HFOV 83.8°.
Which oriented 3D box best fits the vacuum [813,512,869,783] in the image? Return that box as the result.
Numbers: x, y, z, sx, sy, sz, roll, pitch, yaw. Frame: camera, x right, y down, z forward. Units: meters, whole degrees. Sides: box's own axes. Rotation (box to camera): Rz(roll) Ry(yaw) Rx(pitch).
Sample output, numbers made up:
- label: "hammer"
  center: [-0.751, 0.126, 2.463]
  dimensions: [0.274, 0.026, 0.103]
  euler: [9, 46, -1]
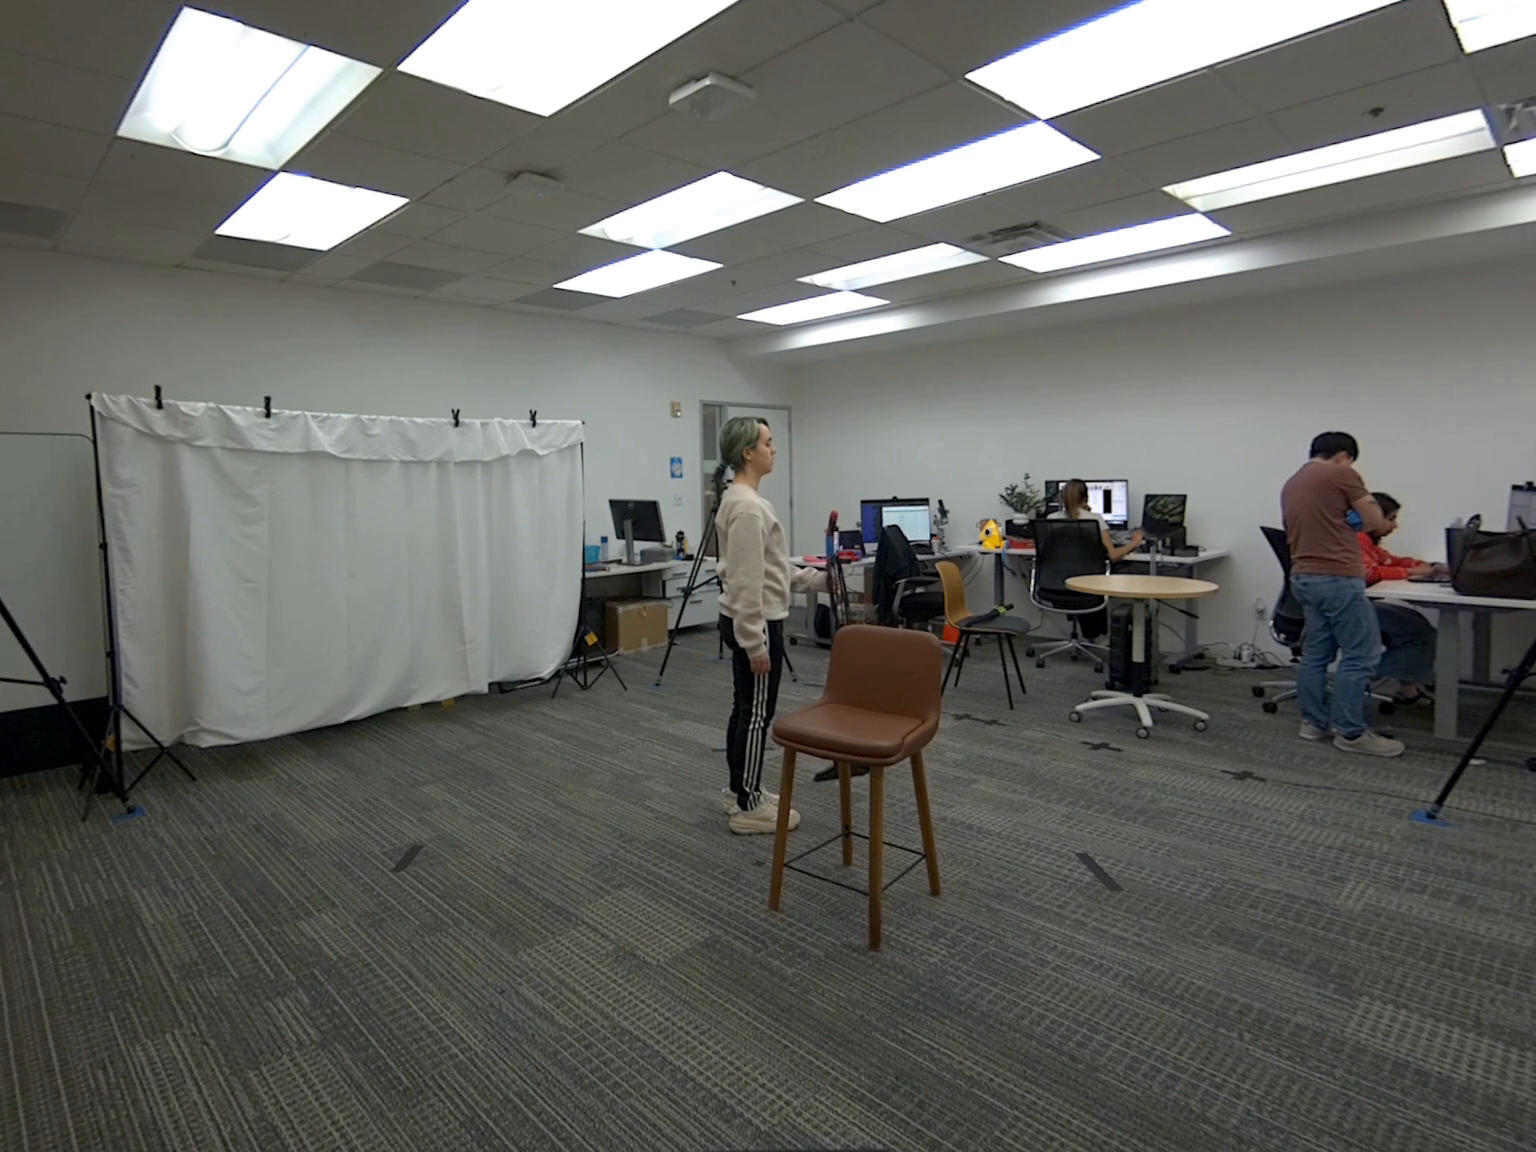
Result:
- label: "vacuum"
  center: [0.294, 0.267, 3.519]
  dimensions: [0.247, 1.050, 0.147]
  euler: [-1, -1, -23]
